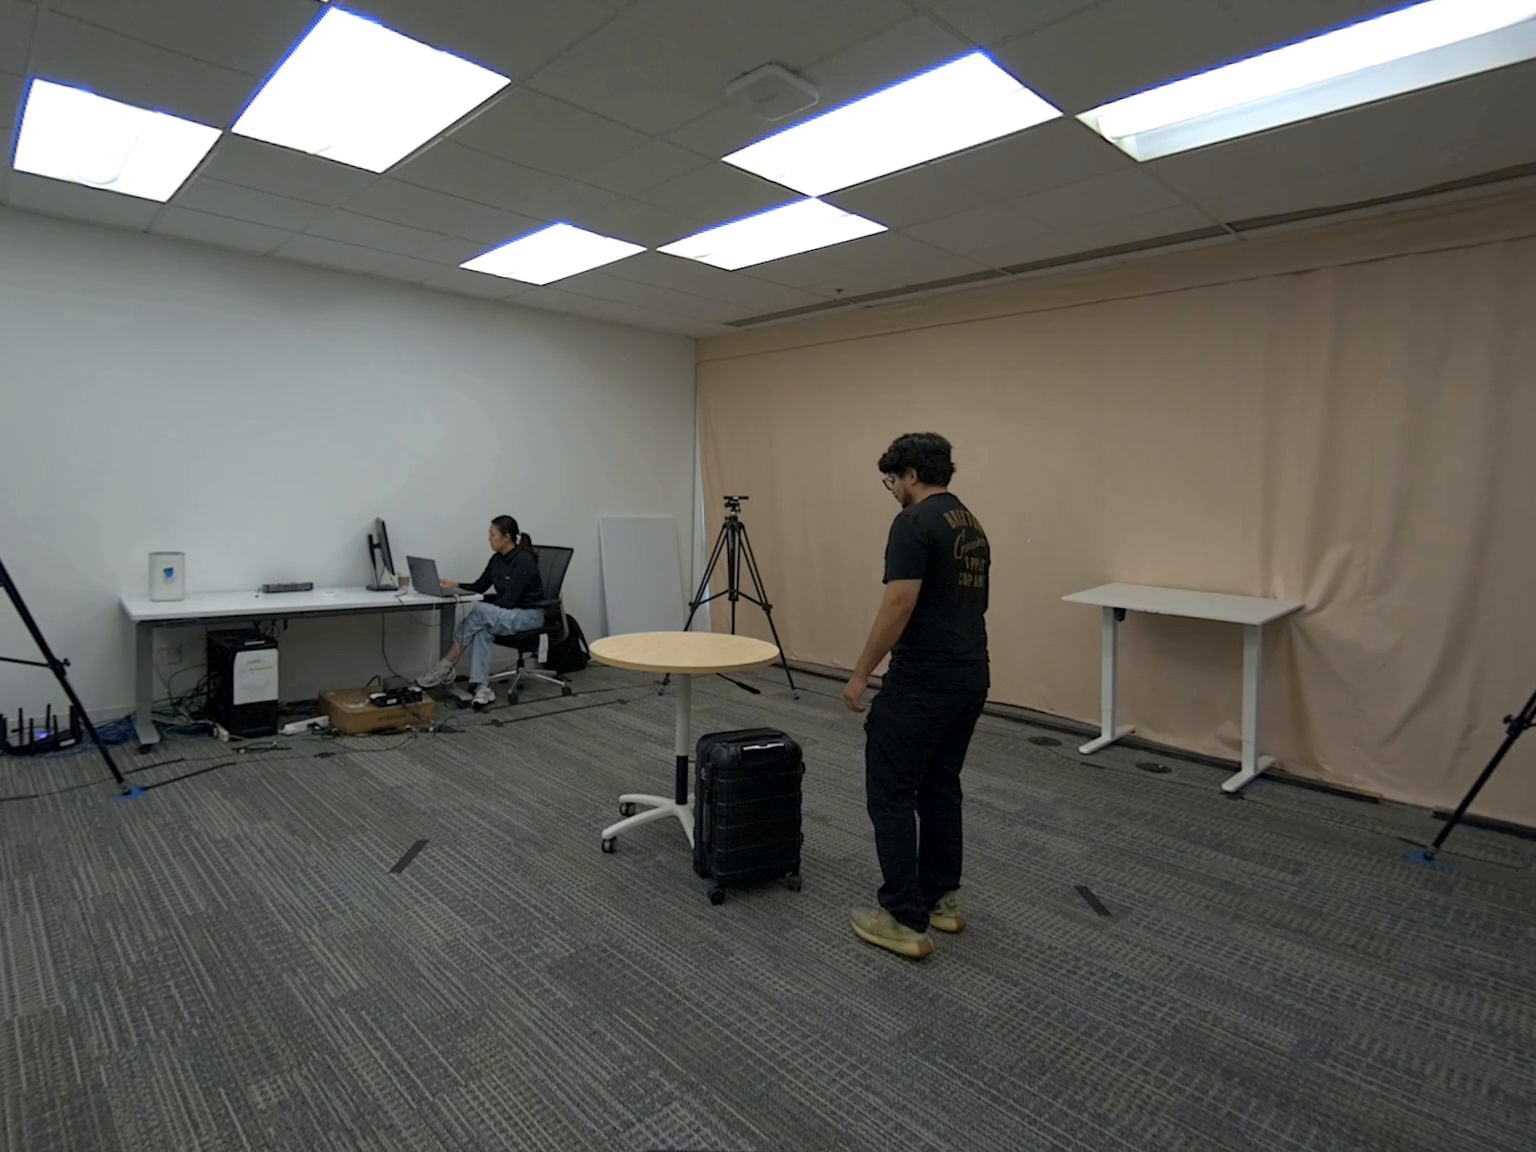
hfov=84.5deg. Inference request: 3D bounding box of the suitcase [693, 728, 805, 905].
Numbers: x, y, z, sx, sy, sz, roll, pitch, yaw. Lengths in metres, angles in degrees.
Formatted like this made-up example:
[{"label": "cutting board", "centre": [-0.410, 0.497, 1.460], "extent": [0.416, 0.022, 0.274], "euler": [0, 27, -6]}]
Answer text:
[{"label": "suitcase", "centre": [-0.073, 0.830, 3.038], "extent": [0.369, 0.548, 0.253], "euler": [1, 3, -25]}]
